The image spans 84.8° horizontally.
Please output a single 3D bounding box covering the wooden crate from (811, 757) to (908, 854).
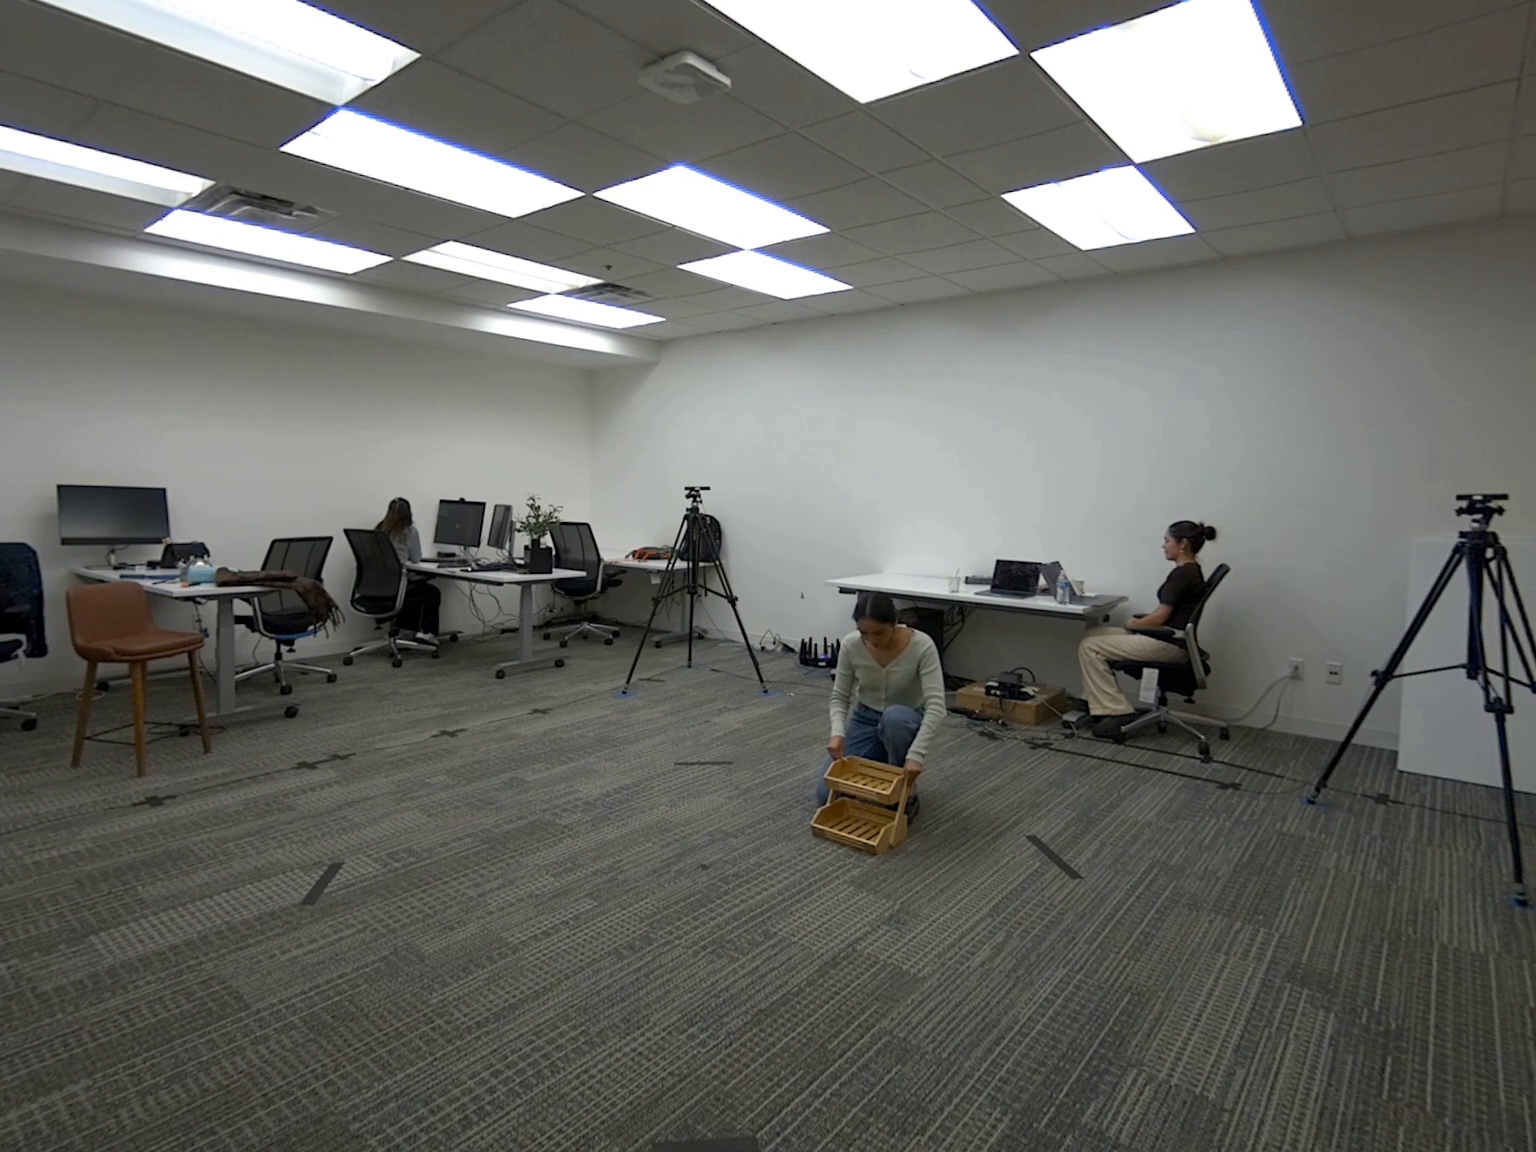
[{"bbox_3d":[0.373,0.906,3.426,0.335,0.272,0.293,5,5,37],"label":"wooden crate"}]
